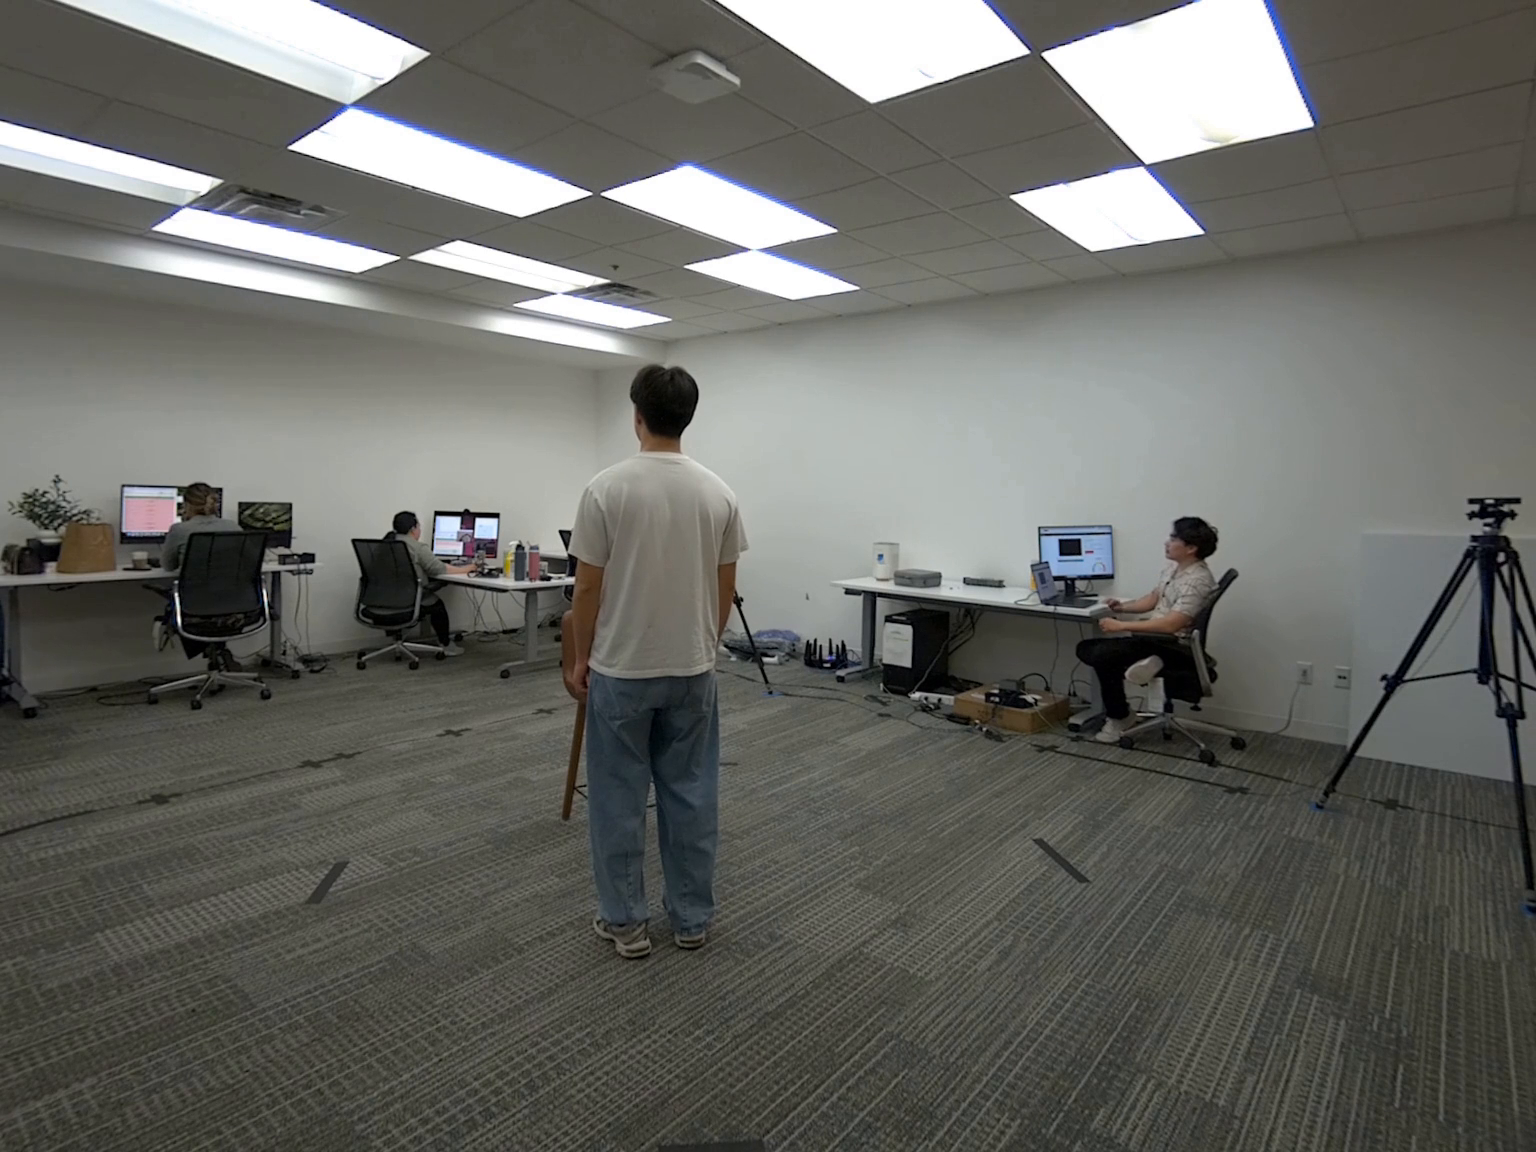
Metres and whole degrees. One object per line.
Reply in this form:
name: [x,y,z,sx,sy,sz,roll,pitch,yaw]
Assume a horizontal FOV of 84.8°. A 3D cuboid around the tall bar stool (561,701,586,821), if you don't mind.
tall bar stool: [-0.584,0.586,3.462,0.443,0.888,0.482,-1,2,-37]
